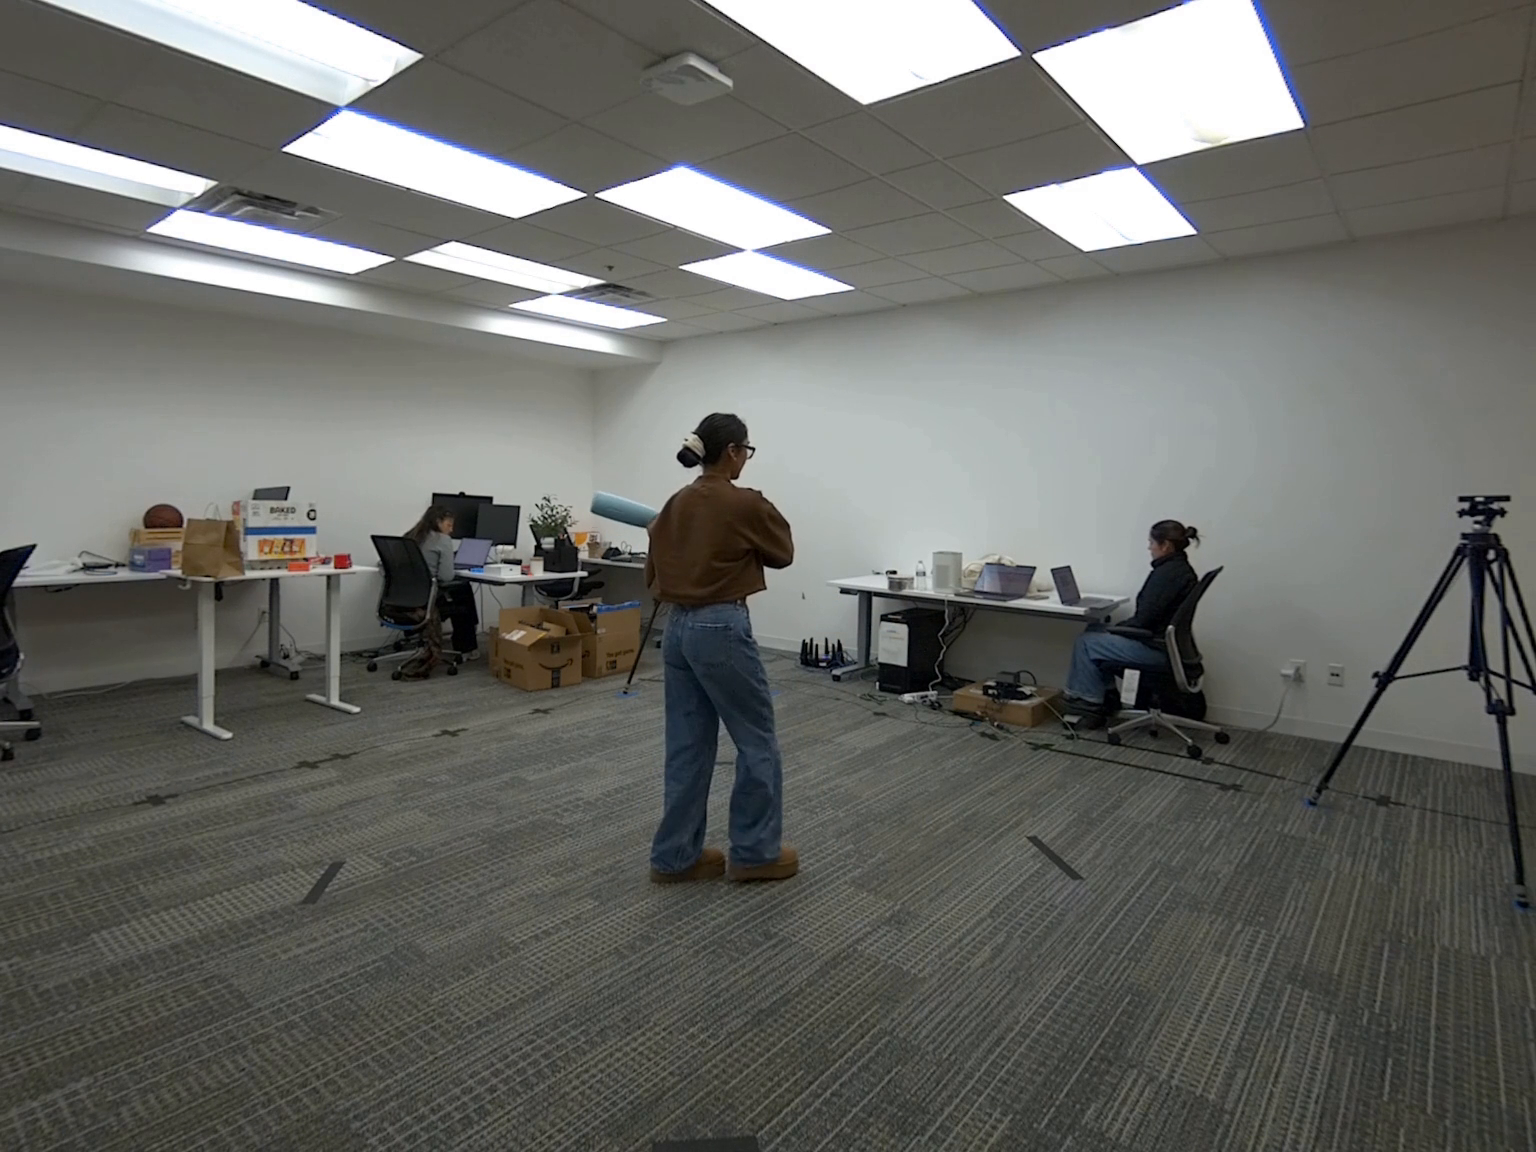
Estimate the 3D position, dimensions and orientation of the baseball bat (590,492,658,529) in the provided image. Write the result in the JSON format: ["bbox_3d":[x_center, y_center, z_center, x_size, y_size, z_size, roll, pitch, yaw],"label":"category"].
[{"bbox_3d":[-0.405,-0.194,3.167,0.536,0.089,0.090,17,1,-10],"label":"baseball bat"}]
